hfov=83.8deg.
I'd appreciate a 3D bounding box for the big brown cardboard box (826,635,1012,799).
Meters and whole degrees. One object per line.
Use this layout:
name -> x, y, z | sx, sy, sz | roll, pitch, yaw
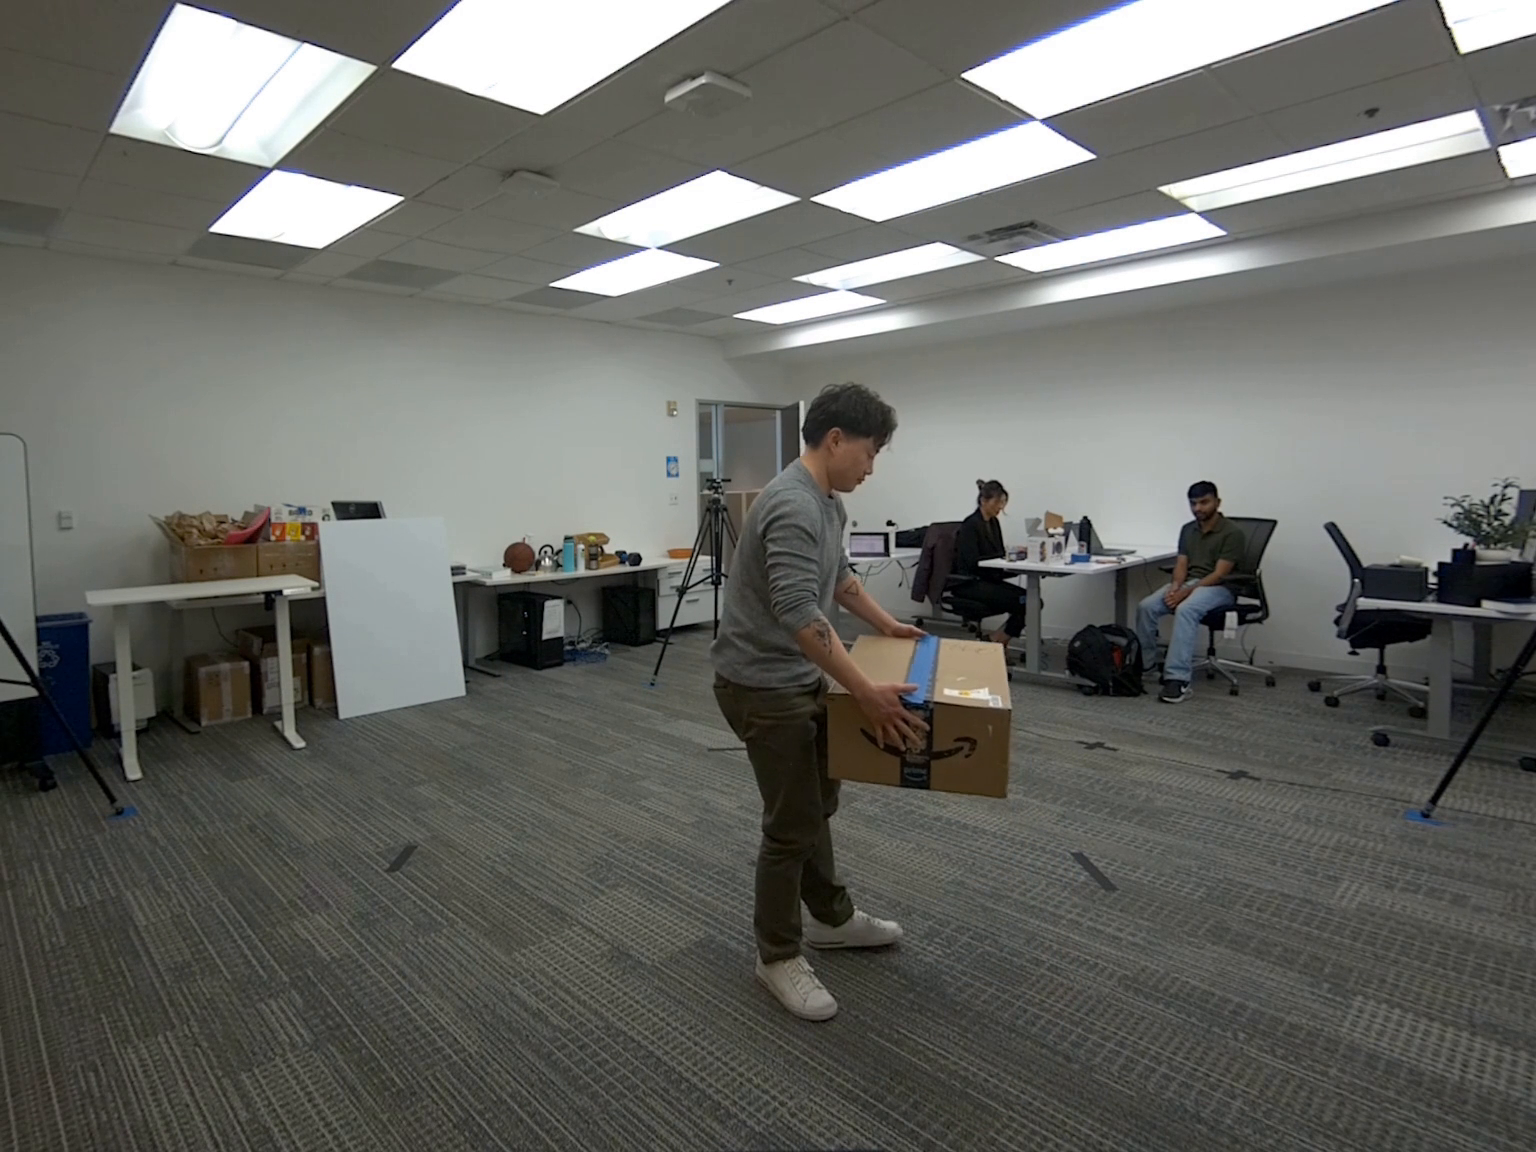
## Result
big brown cardboard box -> 0.410, 0.339, 2.252 | 0.424, 0.231, 0.584 | 1, 10, 15
